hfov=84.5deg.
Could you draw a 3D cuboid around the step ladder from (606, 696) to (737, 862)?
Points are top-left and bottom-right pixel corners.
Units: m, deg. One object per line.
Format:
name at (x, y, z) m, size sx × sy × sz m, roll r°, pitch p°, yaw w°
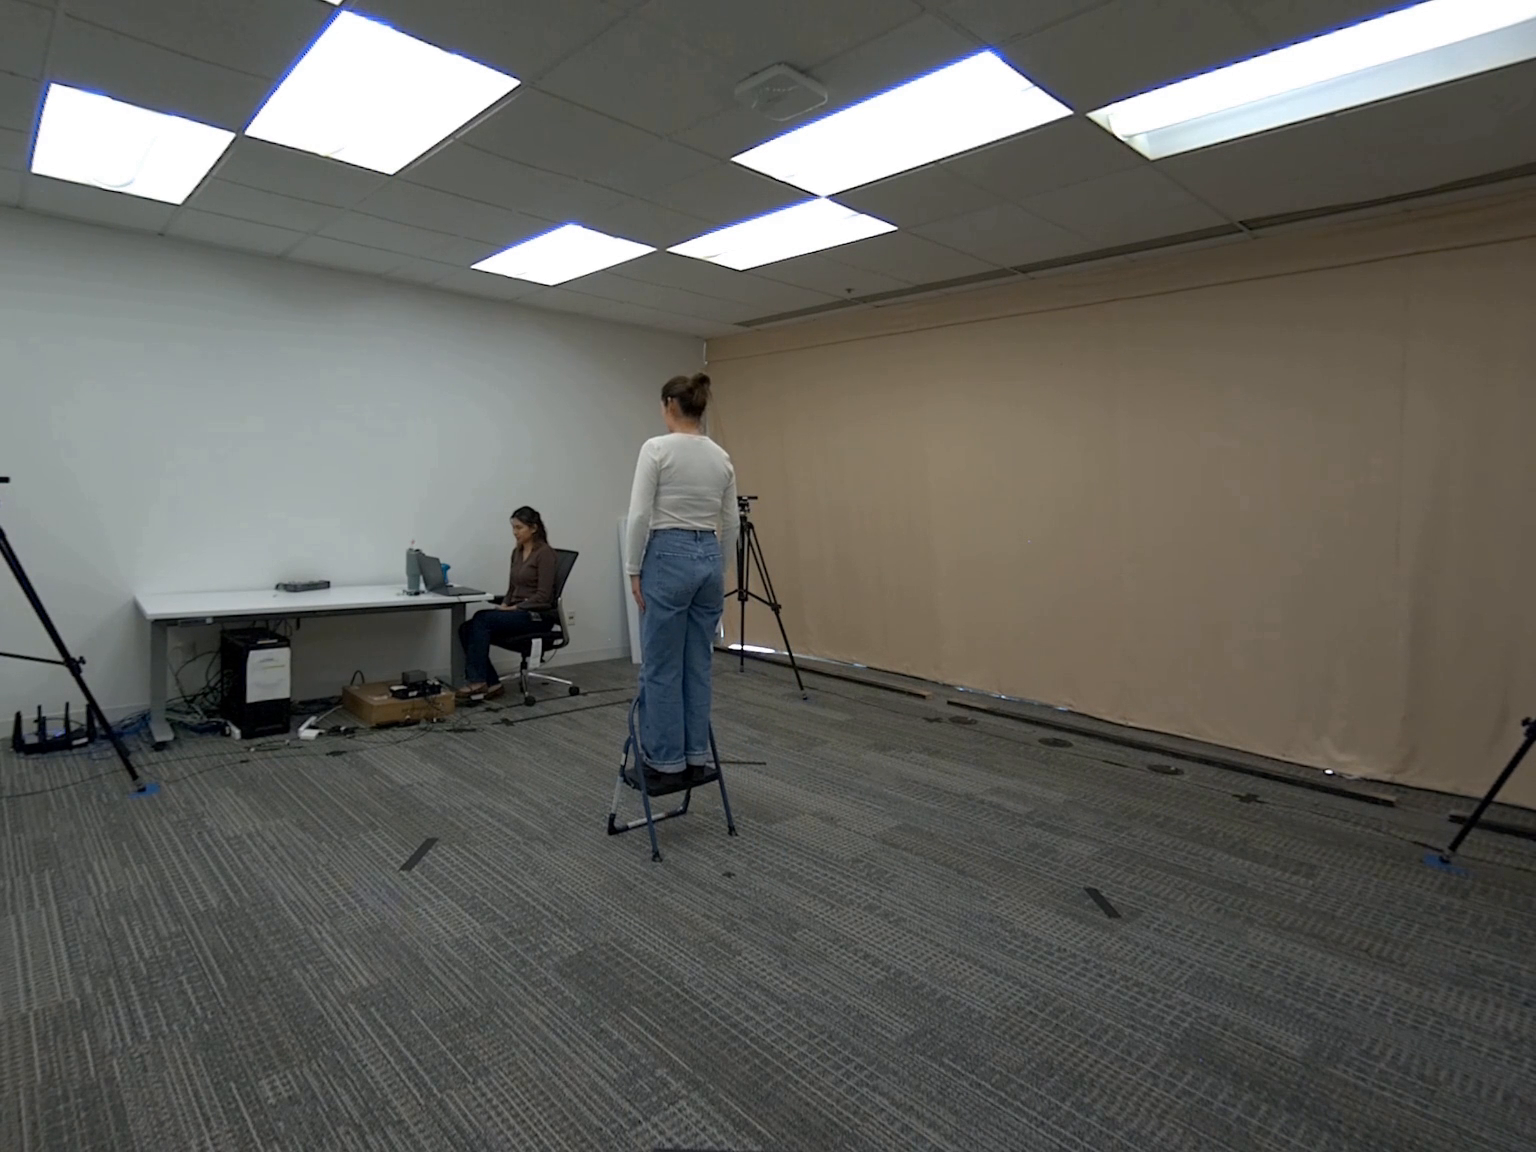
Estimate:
step ladder at (-0.394, 0.764, 3.451) m, size 0.421 × 0.605 × 0.358 m, roll -2°, pitch 4°, yaw -45°
